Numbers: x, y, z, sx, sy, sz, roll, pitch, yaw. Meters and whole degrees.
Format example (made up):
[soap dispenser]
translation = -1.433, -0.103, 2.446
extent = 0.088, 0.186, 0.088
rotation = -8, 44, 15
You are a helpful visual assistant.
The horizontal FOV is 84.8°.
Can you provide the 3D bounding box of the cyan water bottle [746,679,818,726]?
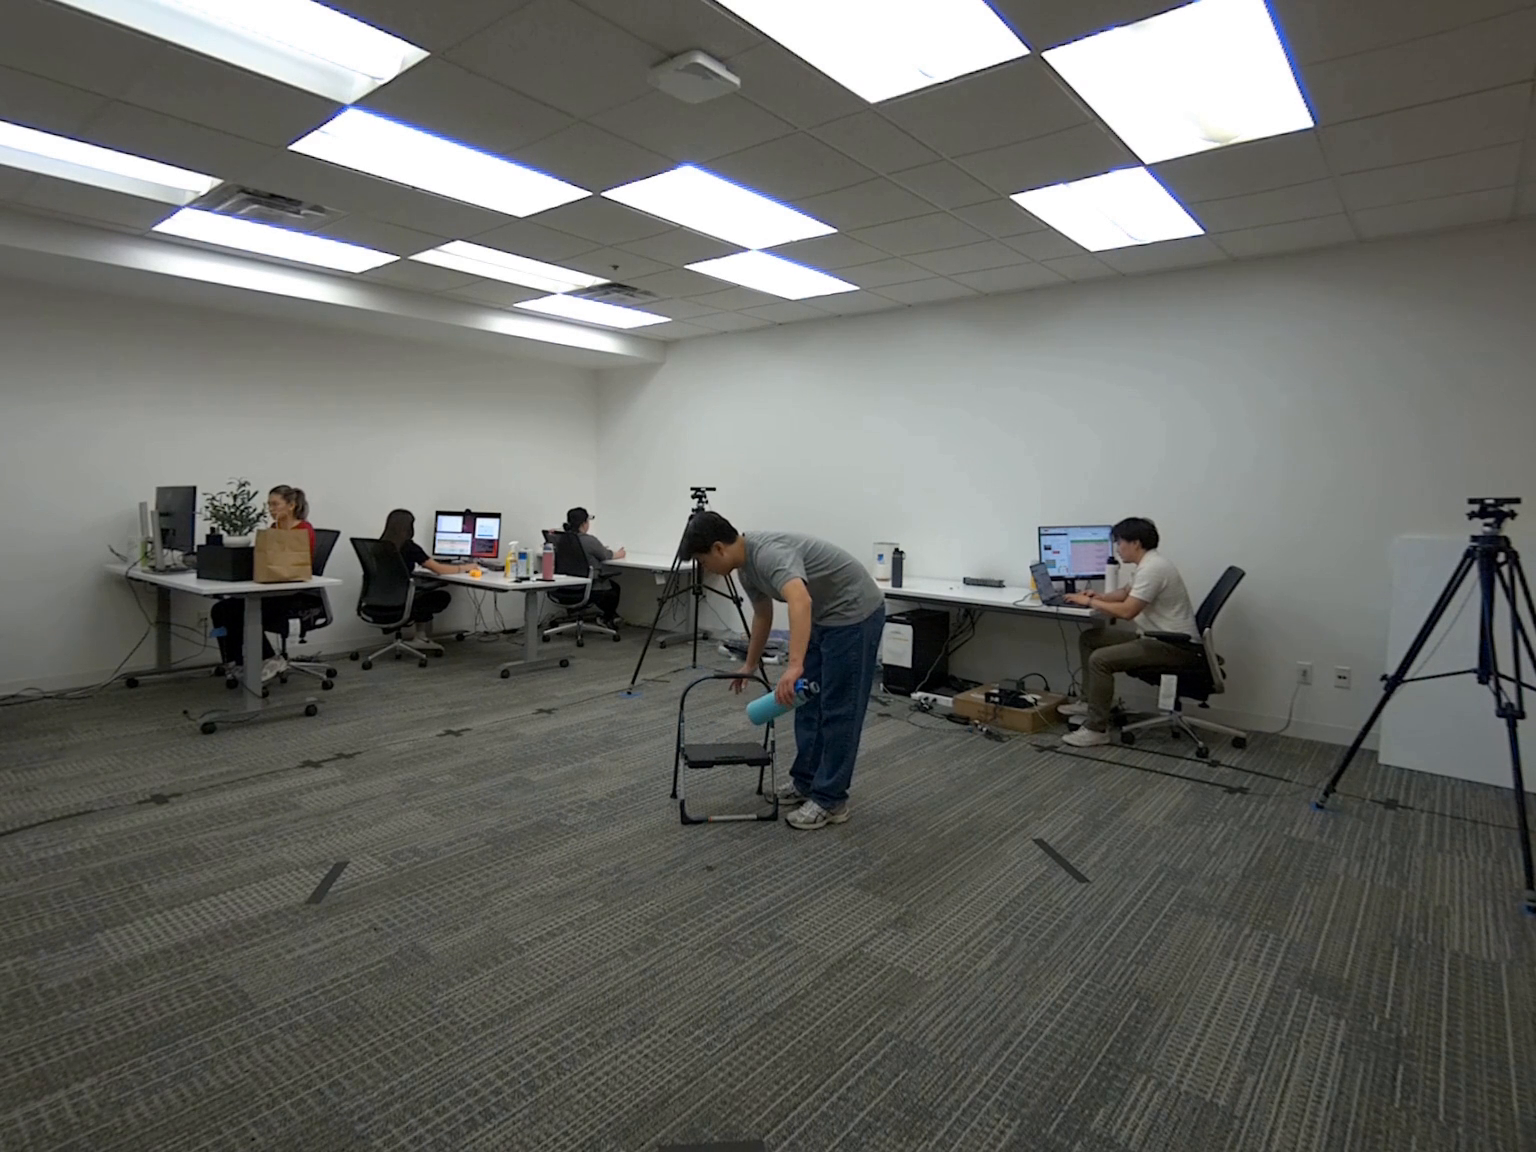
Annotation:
[cyan water bottle]
translation = 0.031, 0.470, 3.121
extent = 0.286, 0.094, 0.090
rotation = -29, -12, 30
